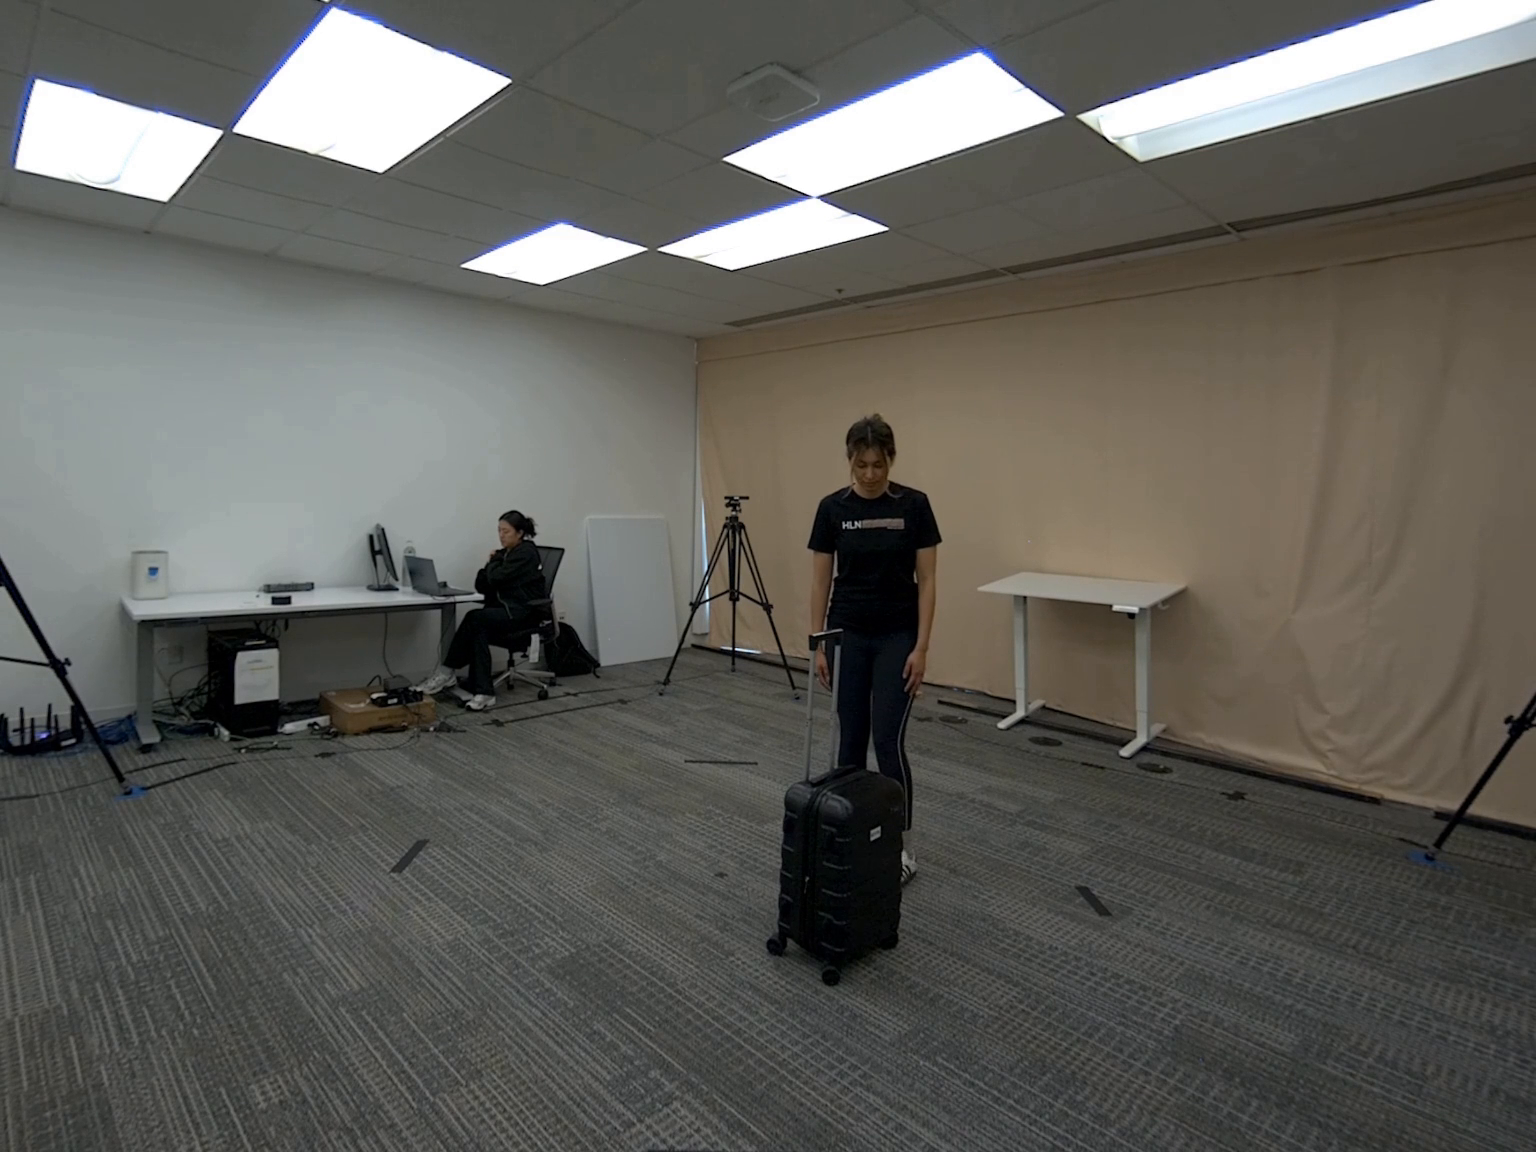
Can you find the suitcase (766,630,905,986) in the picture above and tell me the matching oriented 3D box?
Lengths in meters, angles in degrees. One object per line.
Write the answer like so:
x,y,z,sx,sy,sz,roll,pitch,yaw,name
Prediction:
0.242,0.690,2.572,0.264,0.976,0.375,9,6,41,suitcase
